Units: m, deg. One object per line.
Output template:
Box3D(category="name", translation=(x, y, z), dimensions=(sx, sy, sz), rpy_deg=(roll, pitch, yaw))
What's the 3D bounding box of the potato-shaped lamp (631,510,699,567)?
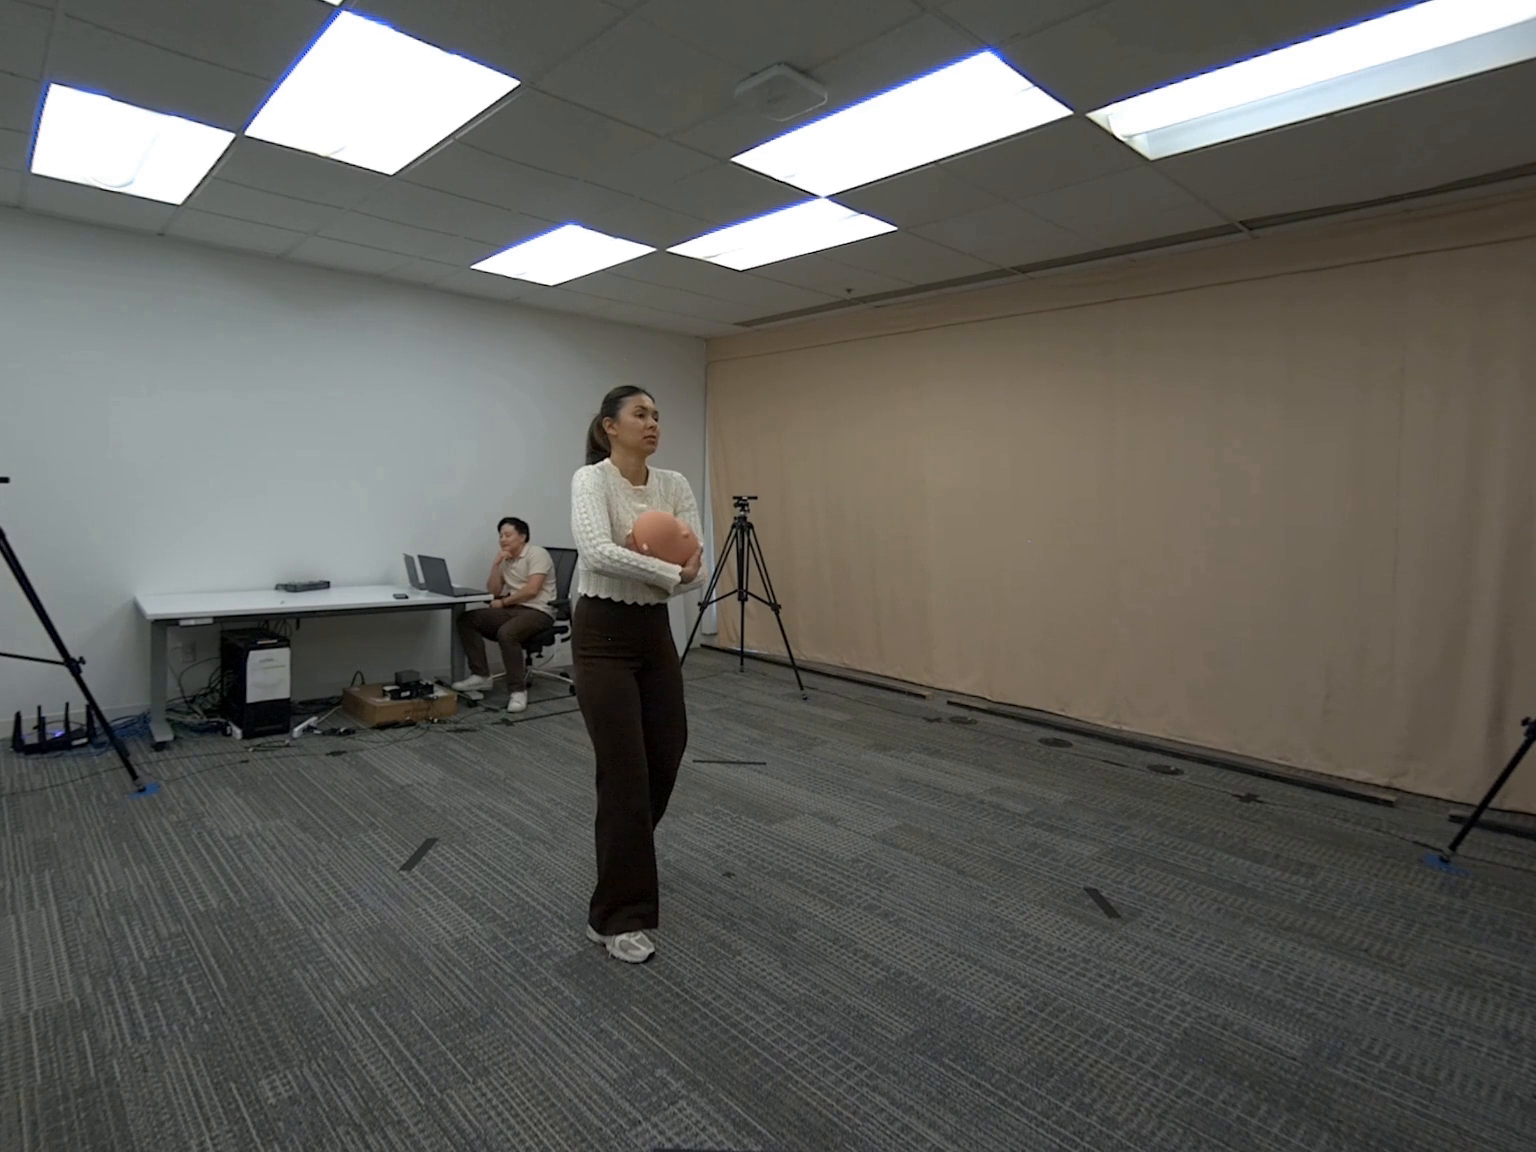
Box3D(category="potato-shaped lamp", translation=(-0.317, -0.104, 2.375), dimensions=(0.170, 0.171, 0.192), rpy_deg=(30, -23, 40))
